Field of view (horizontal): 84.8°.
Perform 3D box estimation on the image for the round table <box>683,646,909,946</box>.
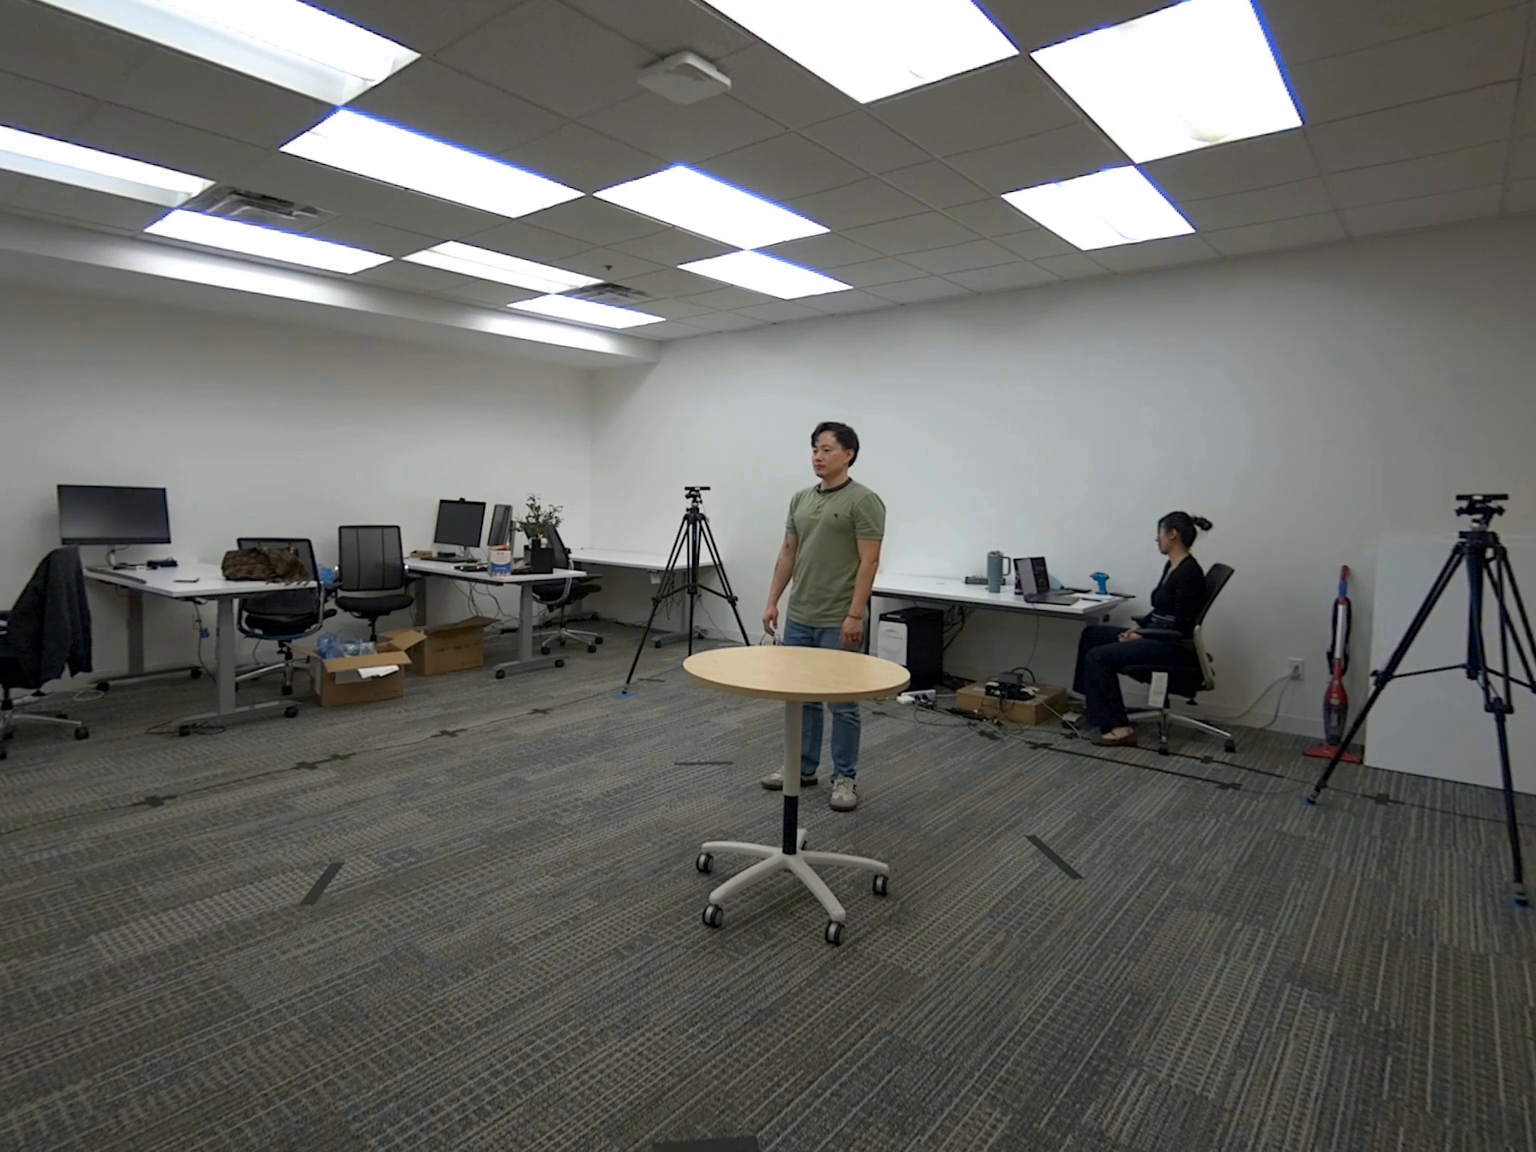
[{"bbox_3d":[0.066,0.699,2.913,0.763,0.792,0.768,2,4,-2],"label":"round table"}]
